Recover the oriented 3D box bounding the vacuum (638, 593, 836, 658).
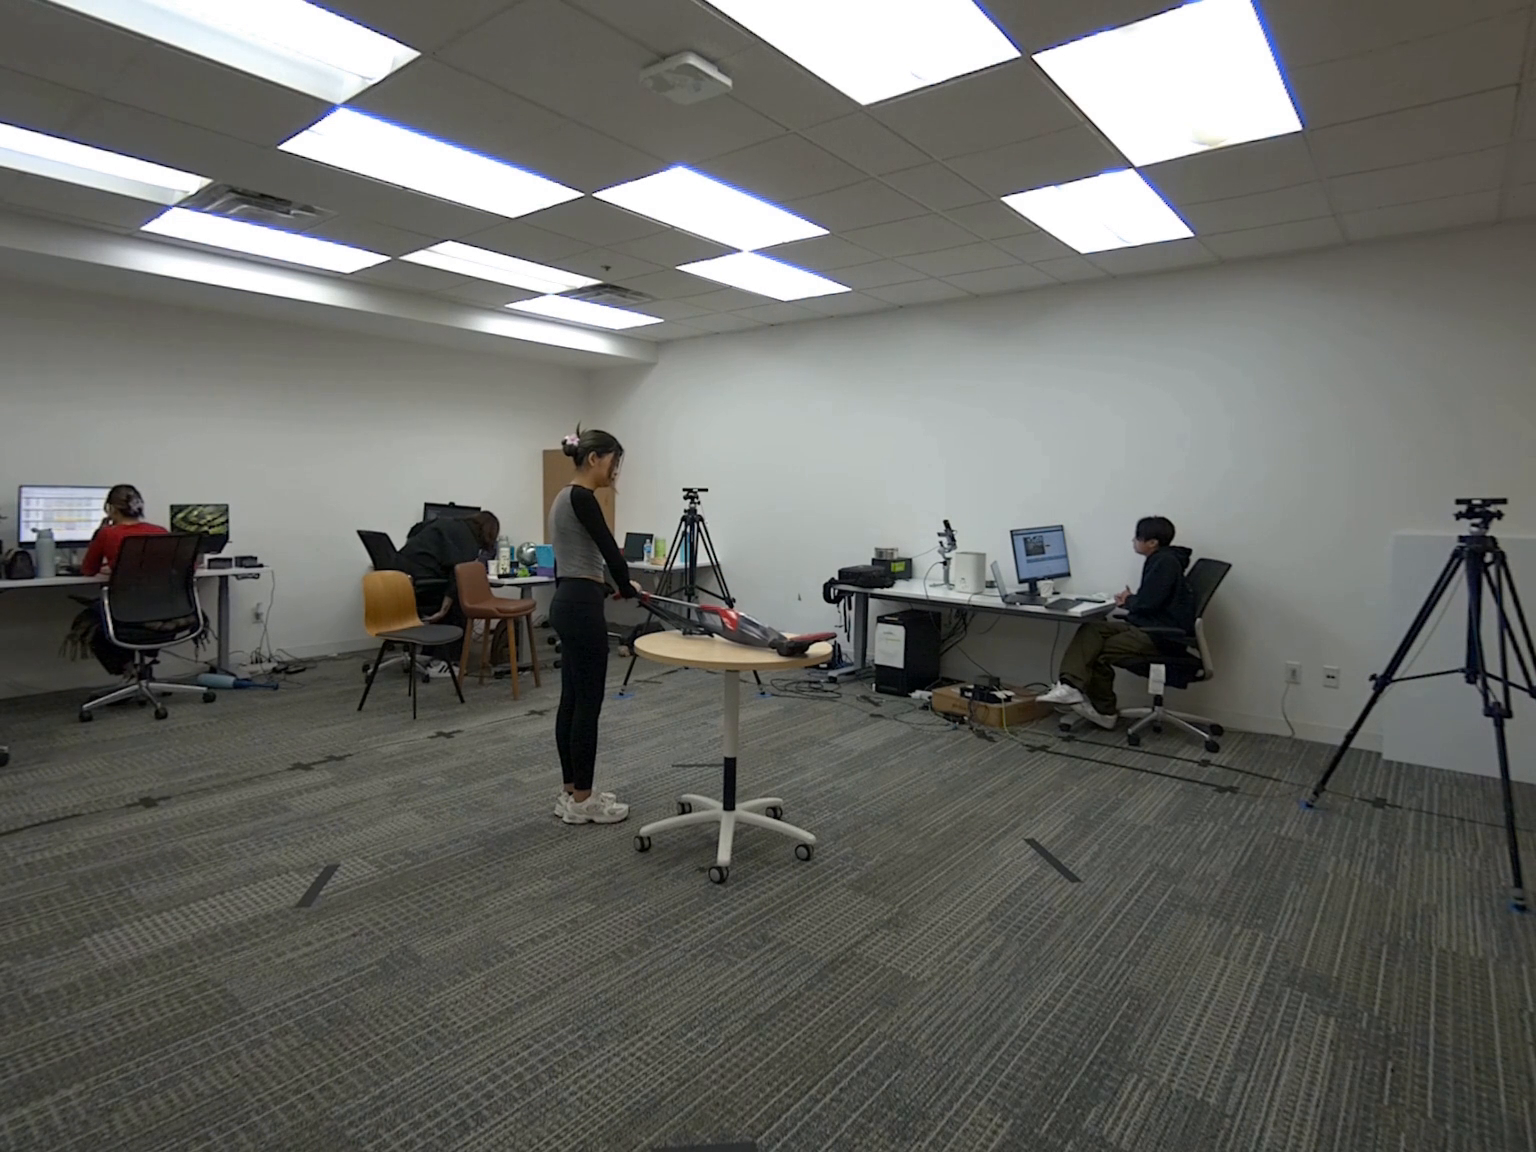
[{"bbox_3d":[-0.270,0.184,3.416,1.087,0.143,0.245,10,10,39],"label":"vacuum"}]
